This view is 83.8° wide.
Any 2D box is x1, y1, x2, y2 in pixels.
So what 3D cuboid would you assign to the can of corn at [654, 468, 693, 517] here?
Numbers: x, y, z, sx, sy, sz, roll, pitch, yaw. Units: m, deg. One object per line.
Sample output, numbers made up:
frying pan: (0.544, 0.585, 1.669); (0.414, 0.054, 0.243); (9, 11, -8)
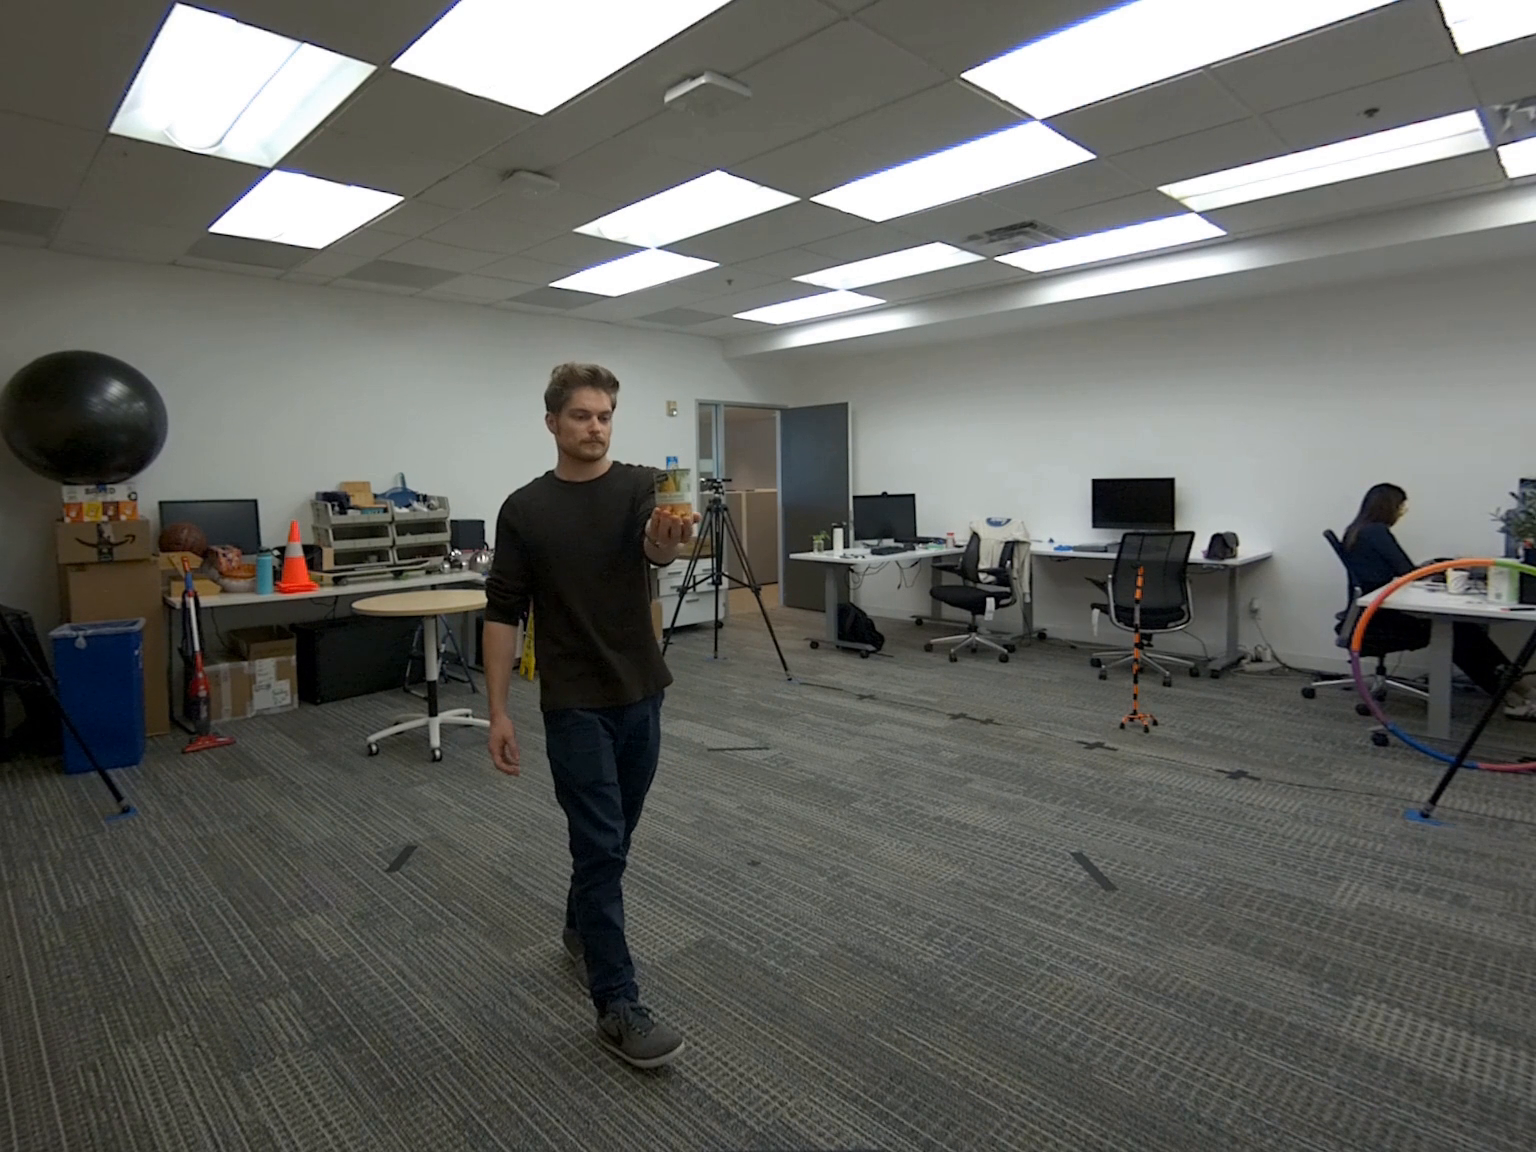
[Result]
can of corn: (-0.179, -0.158, 1.698); (0.074, 0.111, 0.074); (-3, 2, -2)
